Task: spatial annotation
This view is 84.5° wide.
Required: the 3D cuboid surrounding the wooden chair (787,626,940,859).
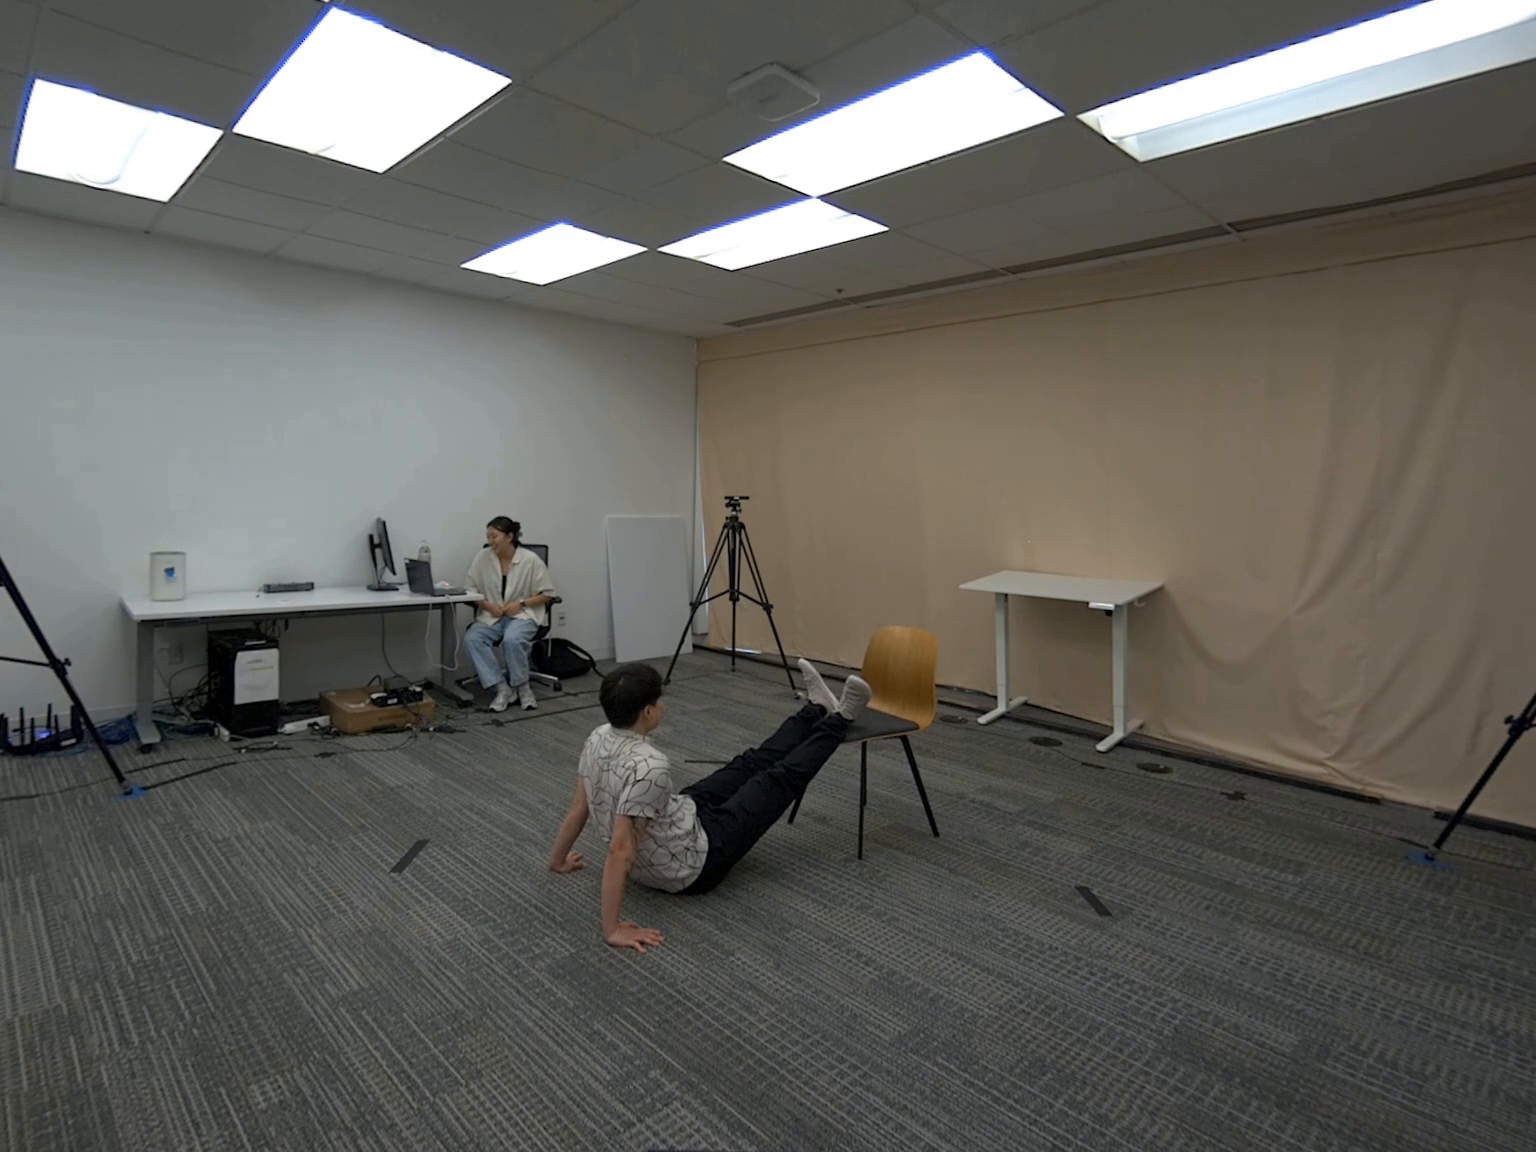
[{"bbox_3d":[0.397,0.650,3.540,0.510,0.877,0.490,5,1,-36],"label":"wooden chair"}]
